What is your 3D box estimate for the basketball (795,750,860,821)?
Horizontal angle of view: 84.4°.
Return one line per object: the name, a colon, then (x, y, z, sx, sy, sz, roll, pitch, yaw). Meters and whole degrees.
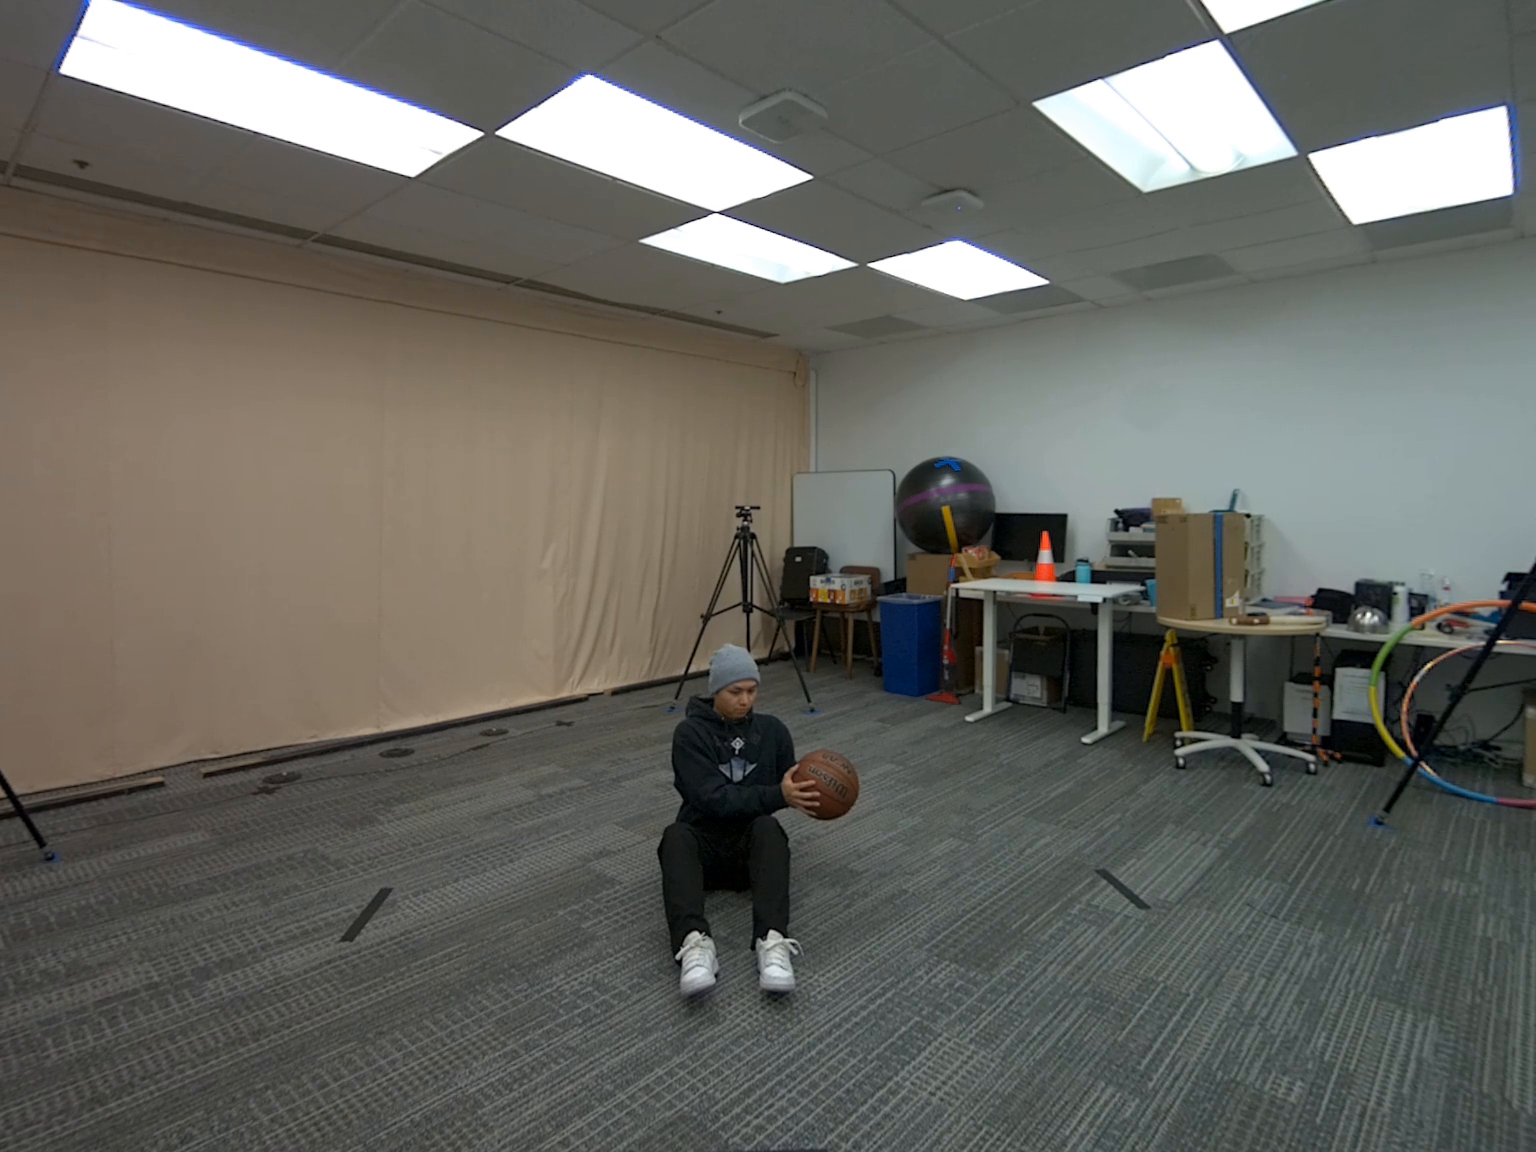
basketball: (0.197, 0.729, 2.948, 0.236, 0.235, 0.237, 0, 4, -2)
